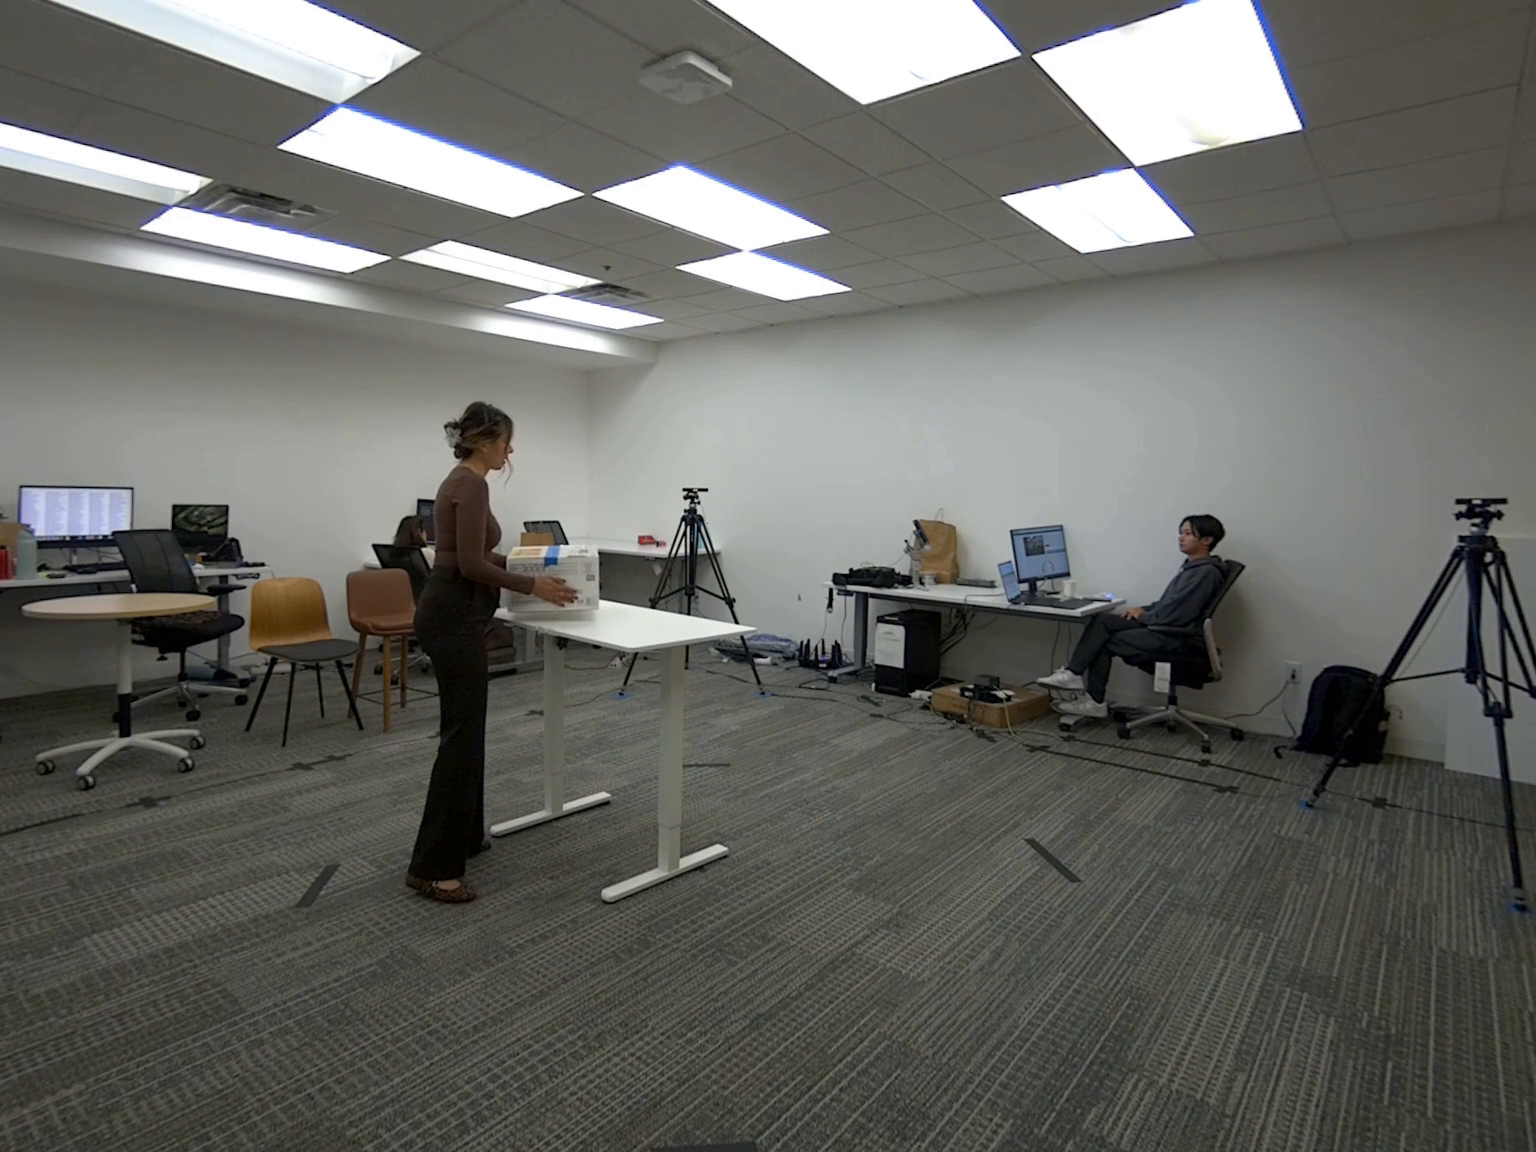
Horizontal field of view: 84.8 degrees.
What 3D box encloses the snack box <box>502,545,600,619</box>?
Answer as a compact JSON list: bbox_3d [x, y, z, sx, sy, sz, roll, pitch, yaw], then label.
[{"bbox_3d":[-0.854,0.003,3.354,0.337,0.204,0.412,-2,8,-10],"label":"snack box"}]
